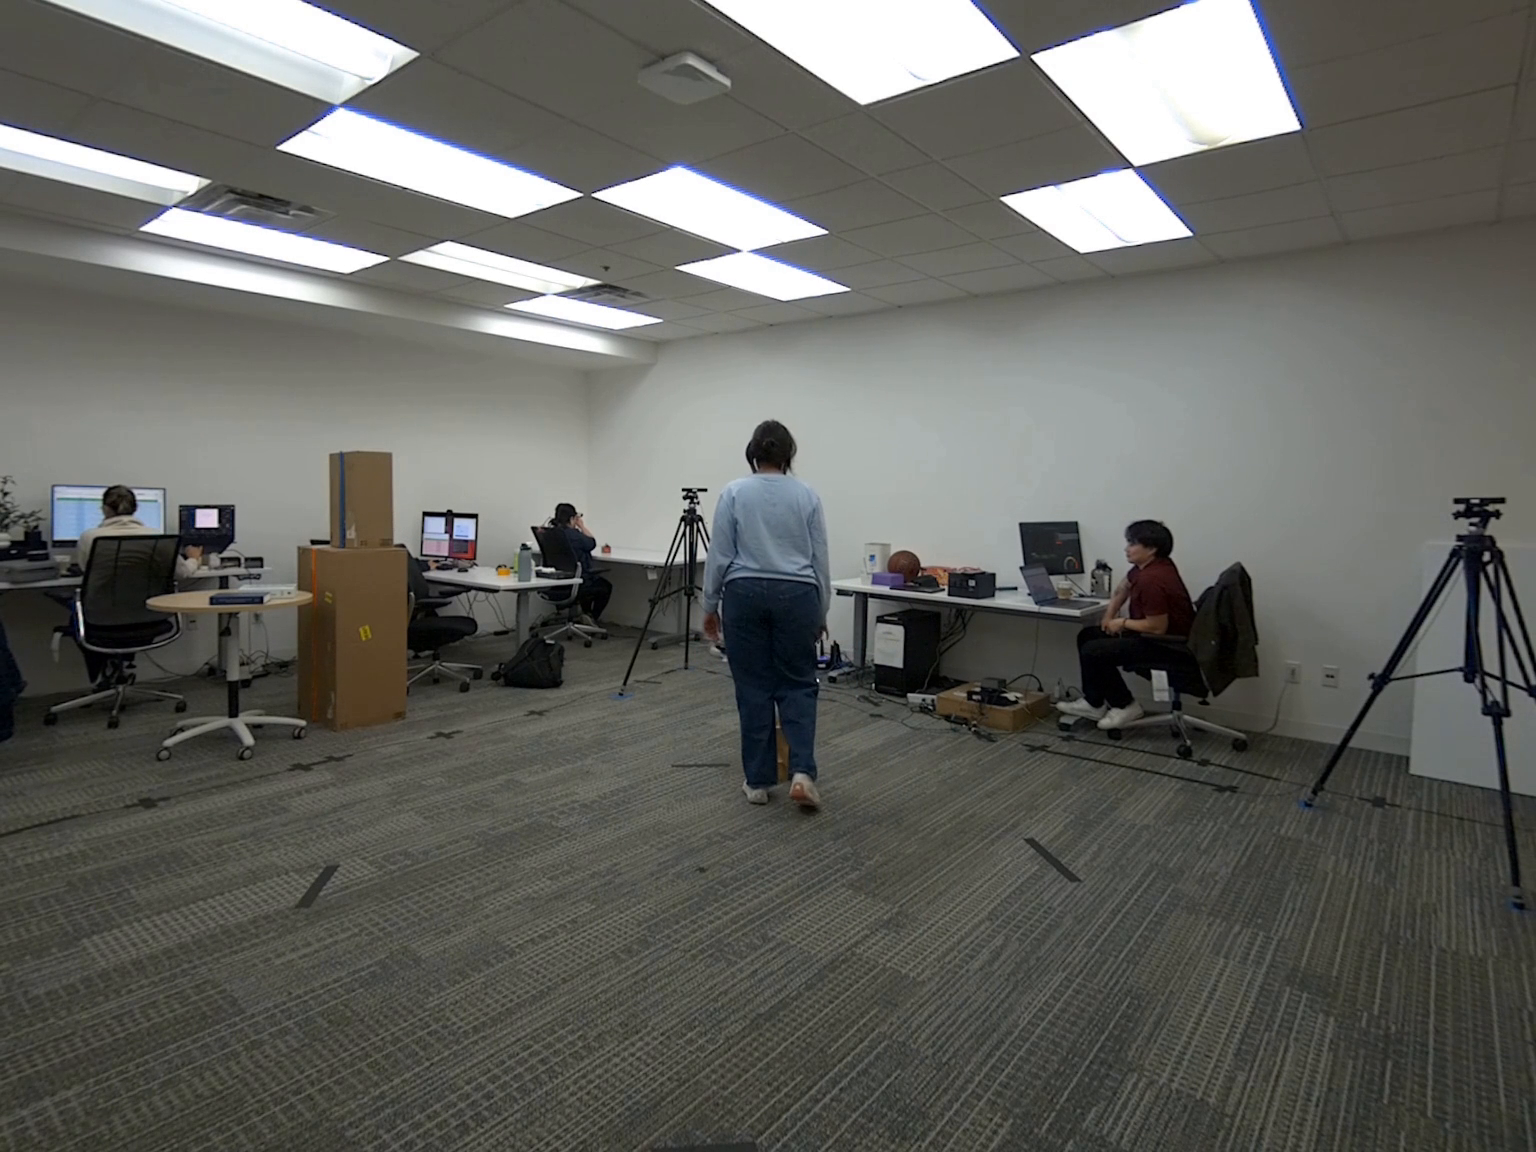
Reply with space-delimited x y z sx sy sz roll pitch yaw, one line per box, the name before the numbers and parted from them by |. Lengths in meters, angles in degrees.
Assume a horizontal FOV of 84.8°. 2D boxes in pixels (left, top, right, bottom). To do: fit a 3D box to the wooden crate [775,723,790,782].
wooden crate | 0.050 0.827 4.231 0.297 0.272 0.331 -1 5 -15
